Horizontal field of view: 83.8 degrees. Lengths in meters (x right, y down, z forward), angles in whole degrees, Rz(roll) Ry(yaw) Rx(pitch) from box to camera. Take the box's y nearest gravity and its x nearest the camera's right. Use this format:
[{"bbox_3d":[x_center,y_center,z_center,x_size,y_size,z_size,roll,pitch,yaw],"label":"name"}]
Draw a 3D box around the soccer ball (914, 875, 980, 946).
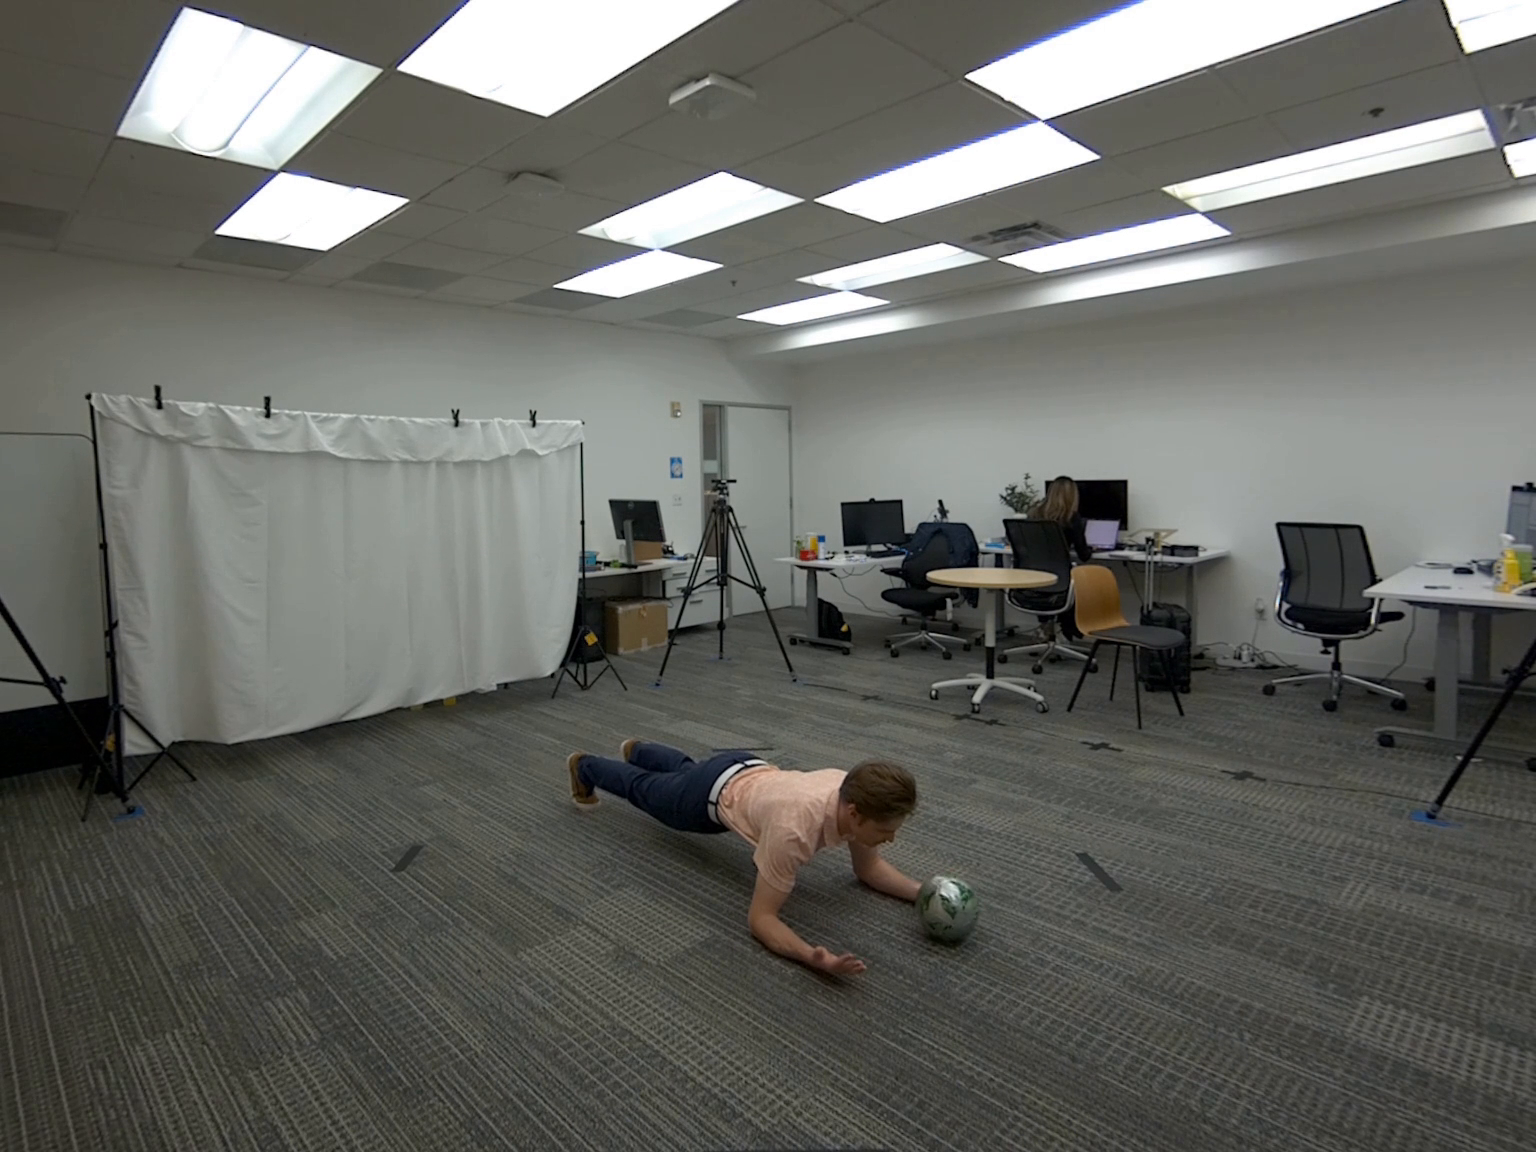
[{"bbox_3d":[0.538,1.002,2.574,0.187,0.187,0.188,-1,5,-2],"label":"soccer ball"}]
